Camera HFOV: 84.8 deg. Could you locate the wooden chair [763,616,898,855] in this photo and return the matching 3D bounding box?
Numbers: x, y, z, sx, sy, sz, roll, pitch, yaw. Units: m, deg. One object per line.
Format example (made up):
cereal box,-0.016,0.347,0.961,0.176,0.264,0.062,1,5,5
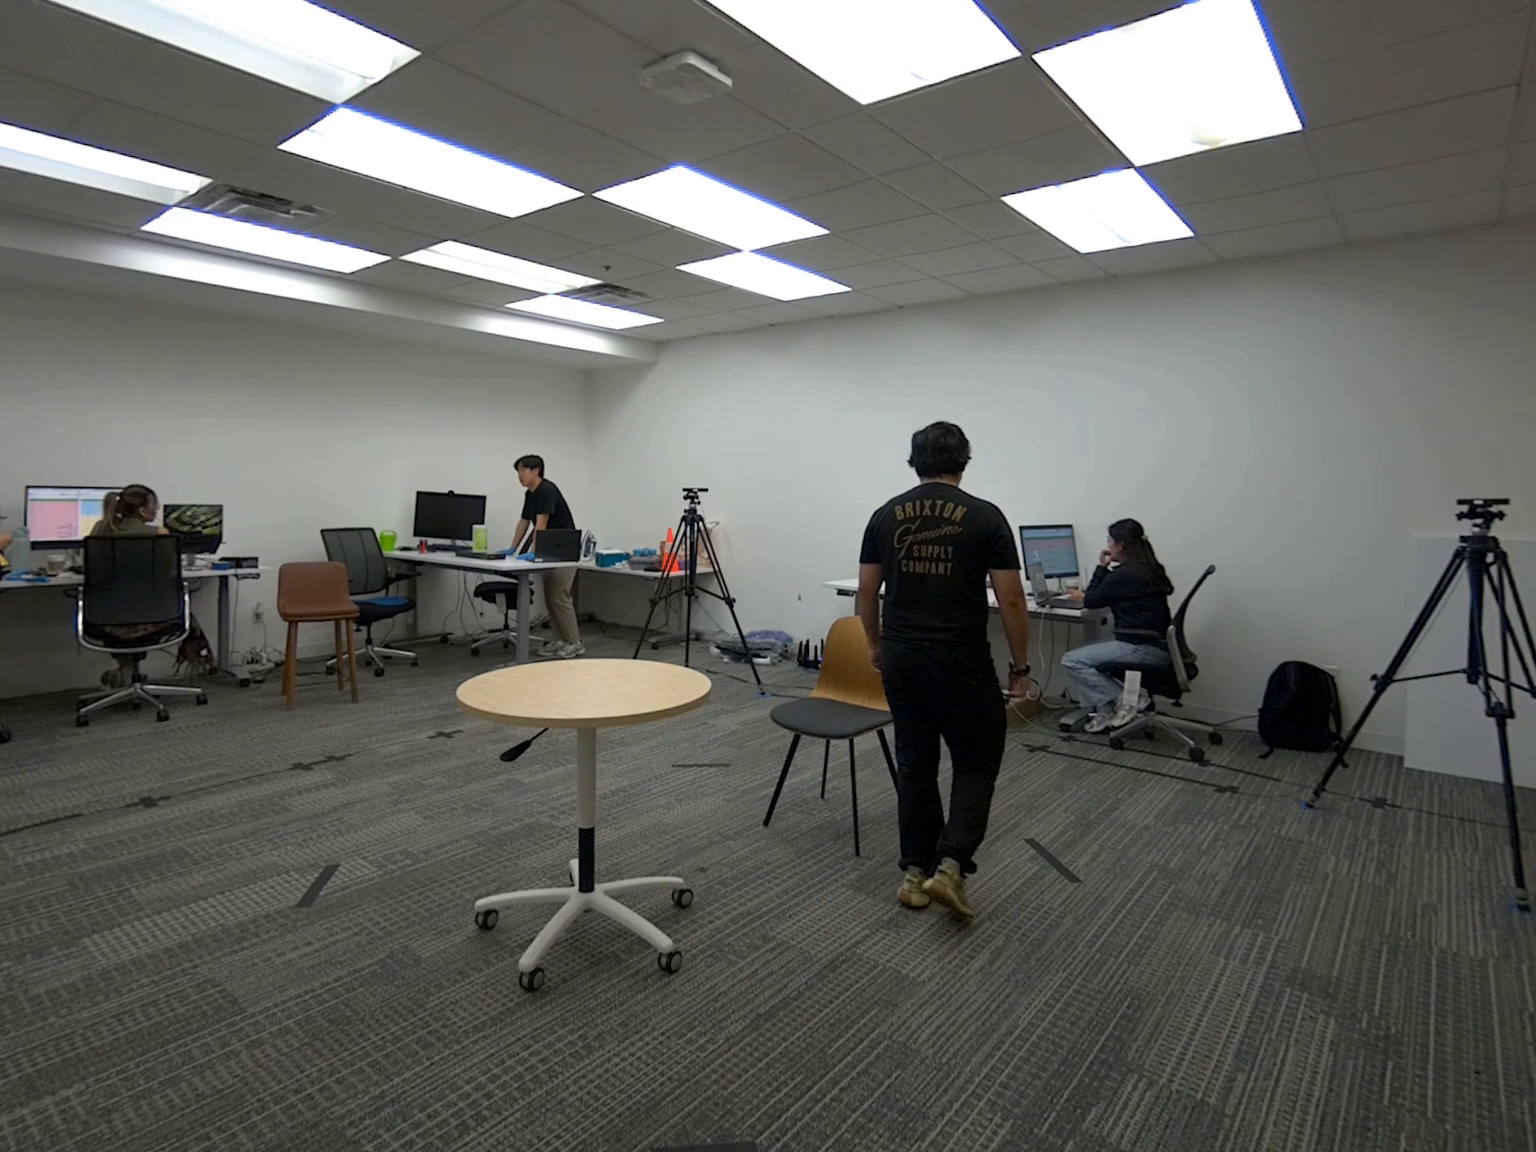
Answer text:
wooden chair,0.287,0.611,3.525,0.494,0.878,0.506,4,0,38
